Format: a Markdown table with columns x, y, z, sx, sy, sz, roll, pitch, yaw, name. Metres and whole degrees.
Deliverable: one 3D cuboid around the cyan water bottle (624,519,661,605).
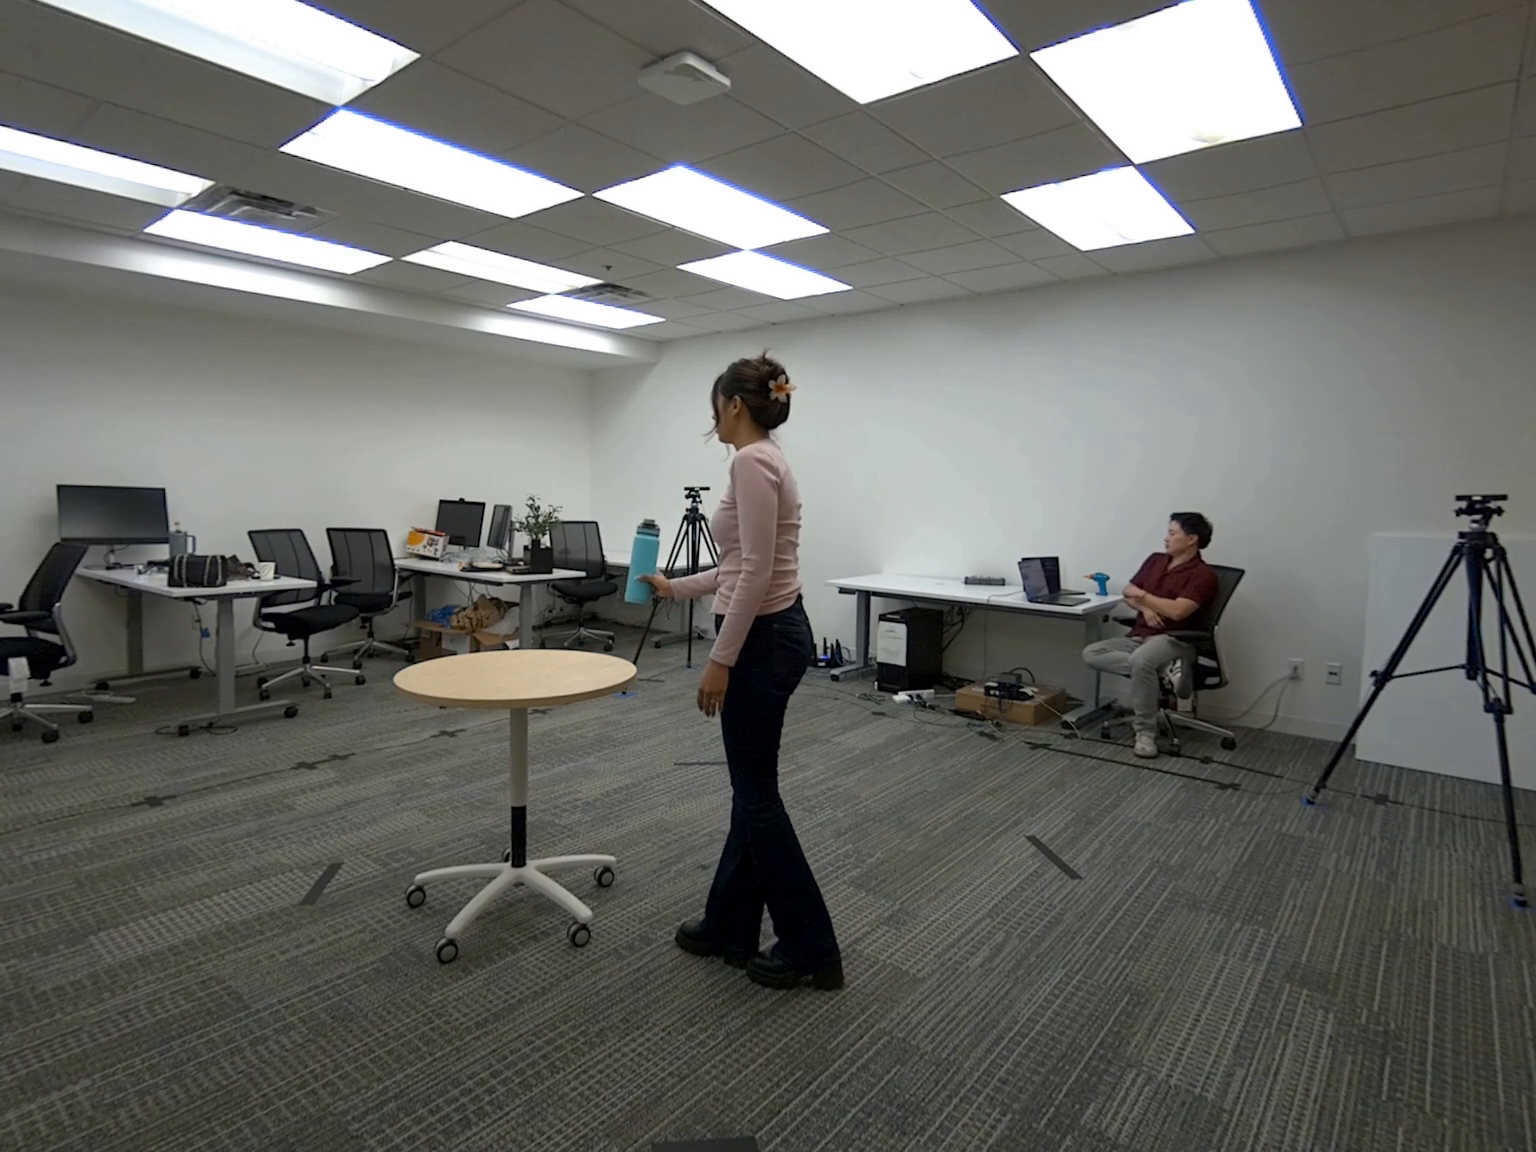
| x | y | z | sx | sy | sz | roll | pitch | yaw | name |
| --- | --- | --- | --- | --- | --- | --- | --- | --- | --- |
| -0.428 | -0.051 | 2.851 | 0.092 | 0.285 | 0.092 | 5 | -5 | -1 | cyan water bottle |
